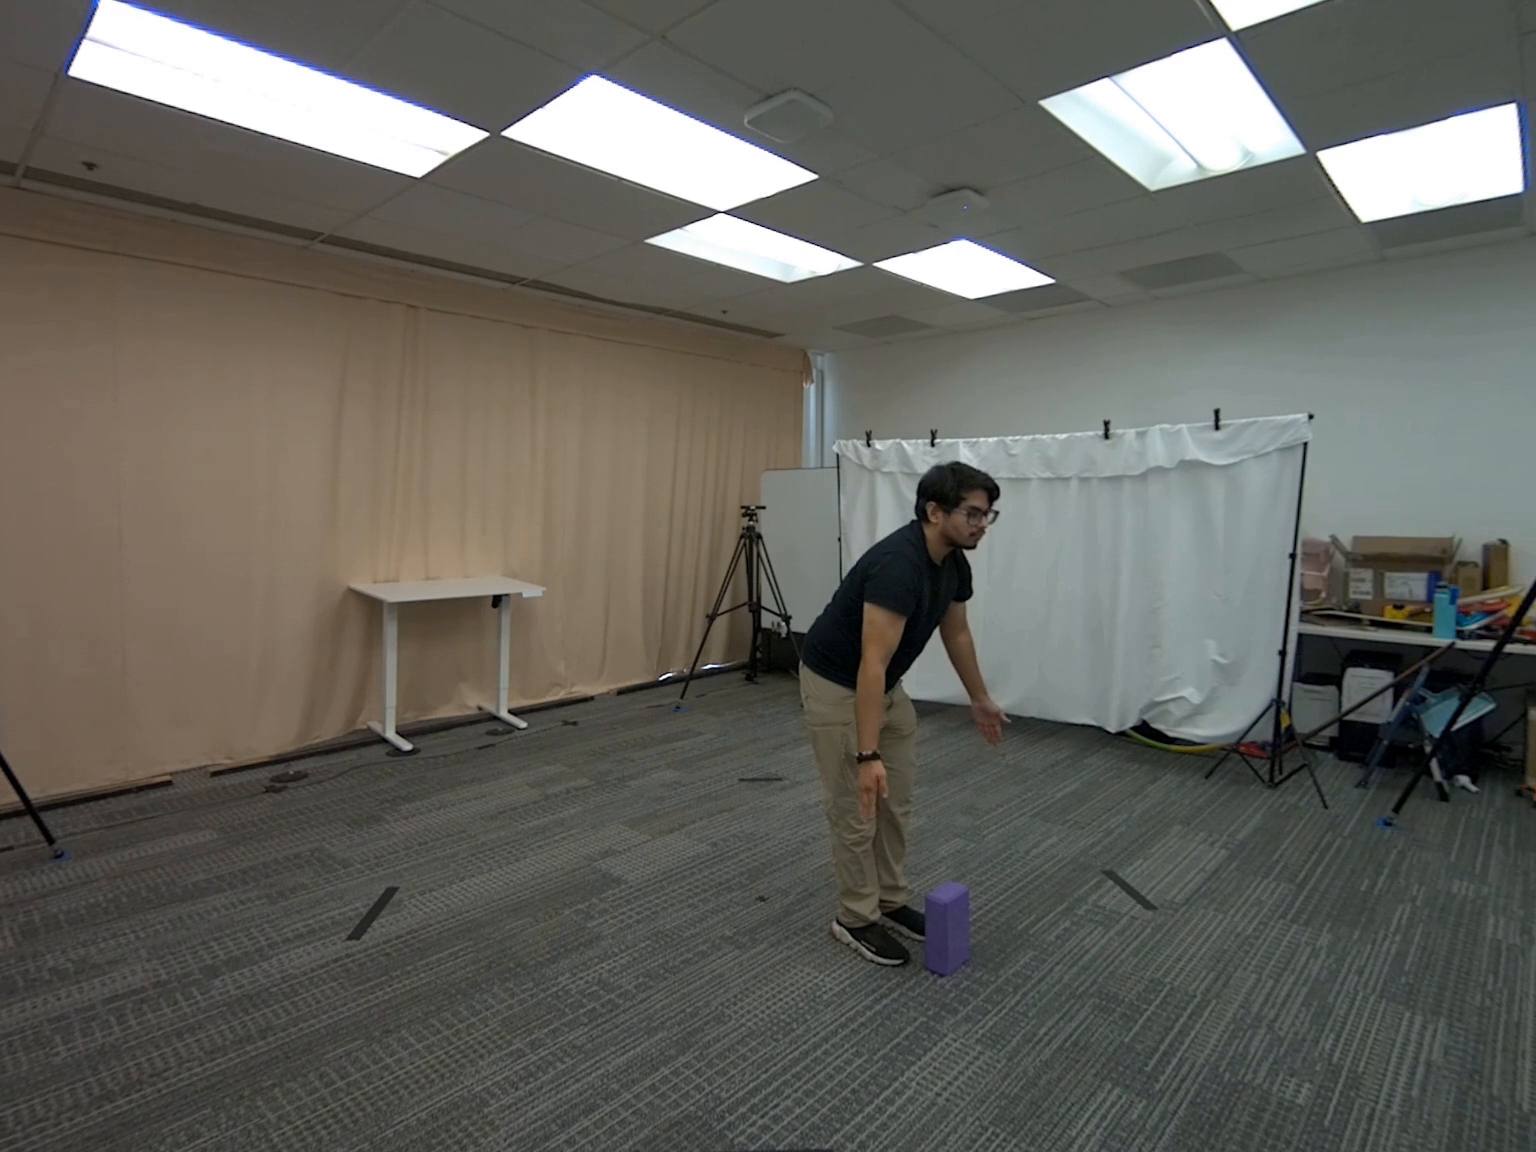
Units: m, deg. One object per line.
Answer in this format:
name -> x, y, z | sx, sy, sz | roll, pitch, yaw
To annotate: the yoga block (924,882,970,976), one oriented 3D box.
yoga block -> 0.550, 1.062, 2.540 | 0.144, 0.229, 0.079 | -2, 3, -39
